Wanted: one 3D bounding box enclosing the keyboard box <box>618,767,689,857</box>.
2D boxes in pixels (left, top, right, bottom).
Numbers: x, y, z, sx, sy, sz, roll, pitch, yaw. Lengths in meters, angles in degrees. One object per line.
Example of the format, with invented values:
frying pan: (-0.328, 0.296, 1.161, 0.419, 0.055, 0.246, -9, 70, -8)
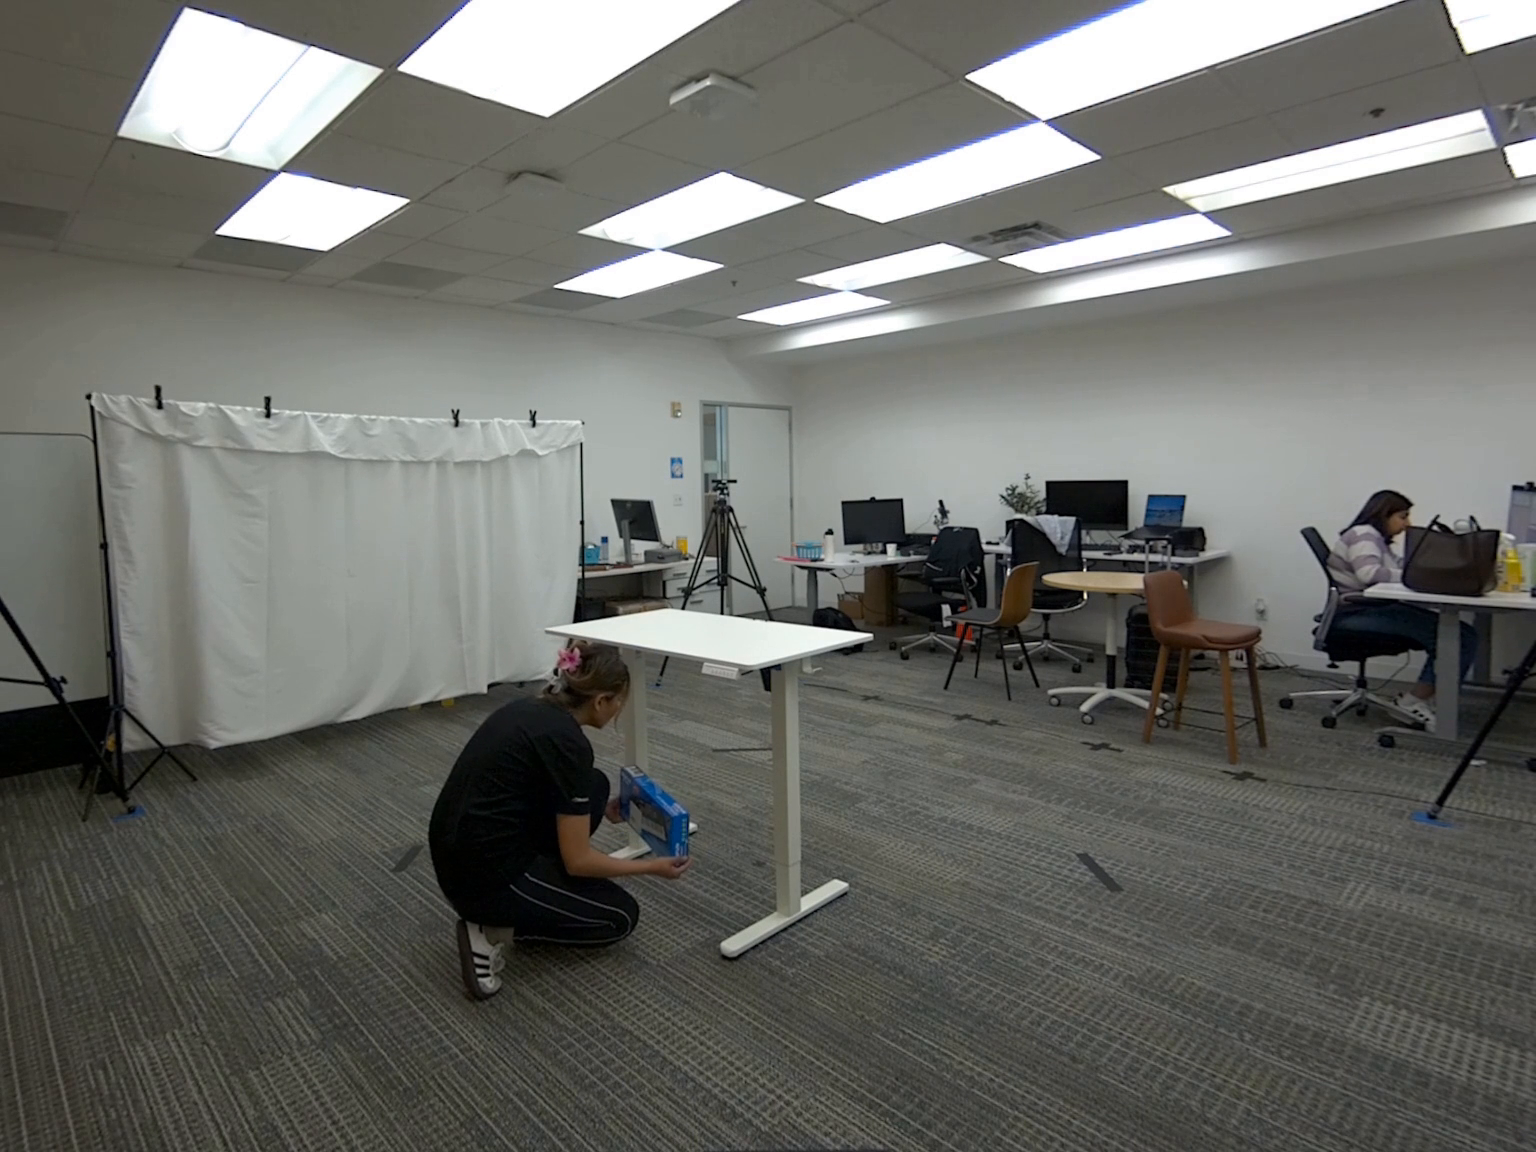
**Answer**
keyboard box: (-0.370, 0.780, 2.774, 0.058, 0.175, 0.450, -1, 8, -30)
